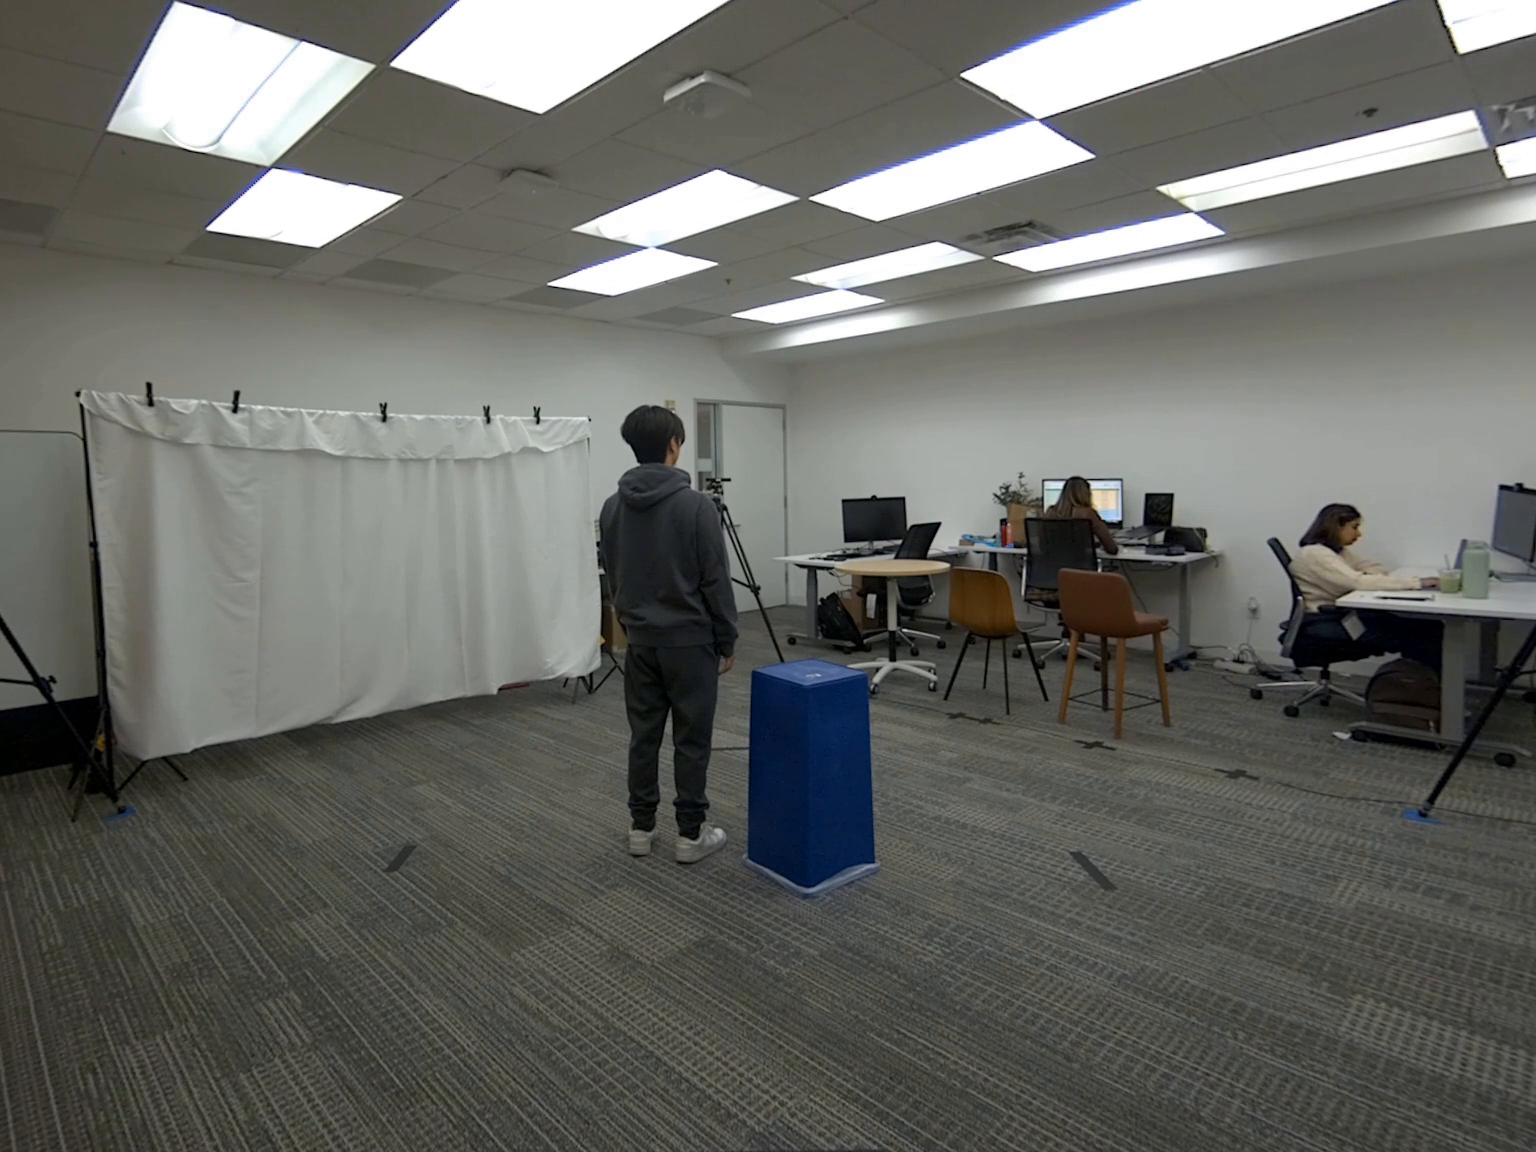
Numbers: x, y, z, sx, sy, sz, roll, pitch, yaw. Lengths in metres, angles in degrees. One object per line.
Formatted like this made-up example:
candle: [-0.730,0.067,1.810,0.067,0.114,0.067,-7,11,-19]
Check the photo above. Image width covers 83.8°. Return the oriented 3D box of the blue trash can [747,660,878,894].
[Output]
blue trash can: [0.154,0.690,3.047,0.368,0.710,0.385,-4,6,-38]
